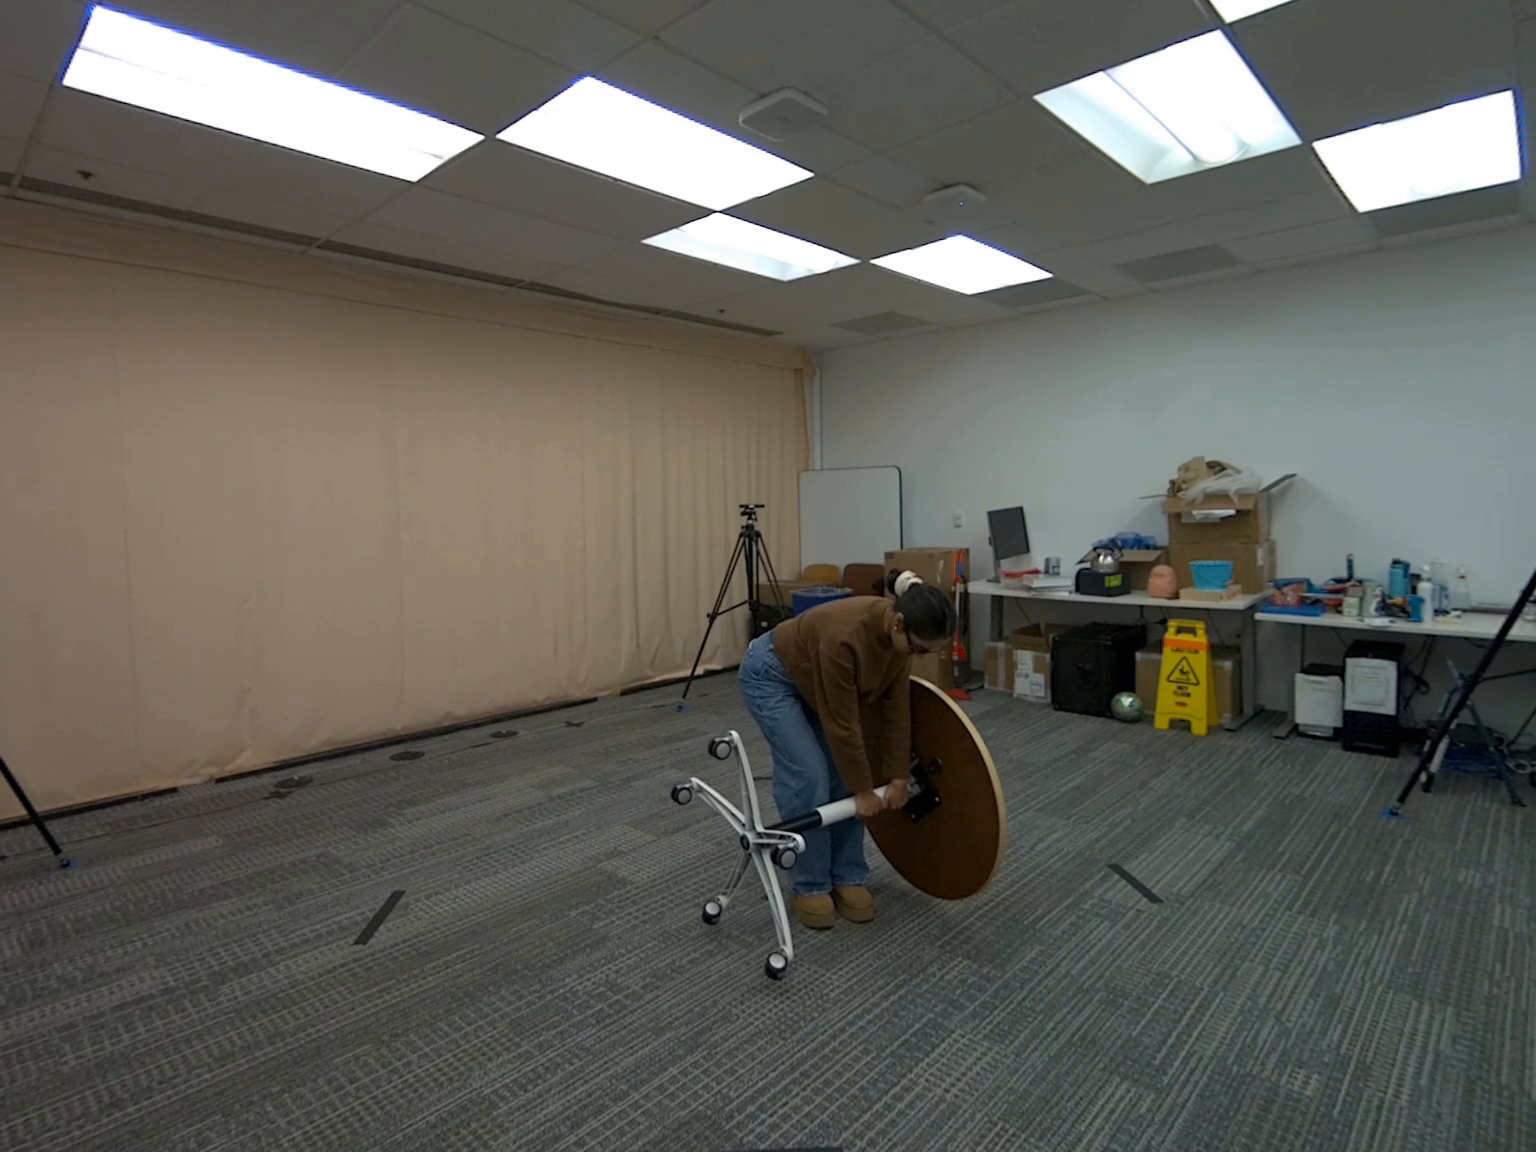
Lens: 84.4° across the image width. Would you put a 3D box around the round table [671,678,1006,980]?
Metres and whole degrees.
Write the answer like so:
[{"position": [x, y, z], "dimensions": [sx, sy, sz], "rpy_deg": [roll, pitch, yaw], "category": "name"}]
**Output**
[{"position": [0.201, 0.780, 2.727], "dimensions": [0.774, 0.760, 0.786], "rpy_deg": [-9, 8, -30], "category": "round table"}]
